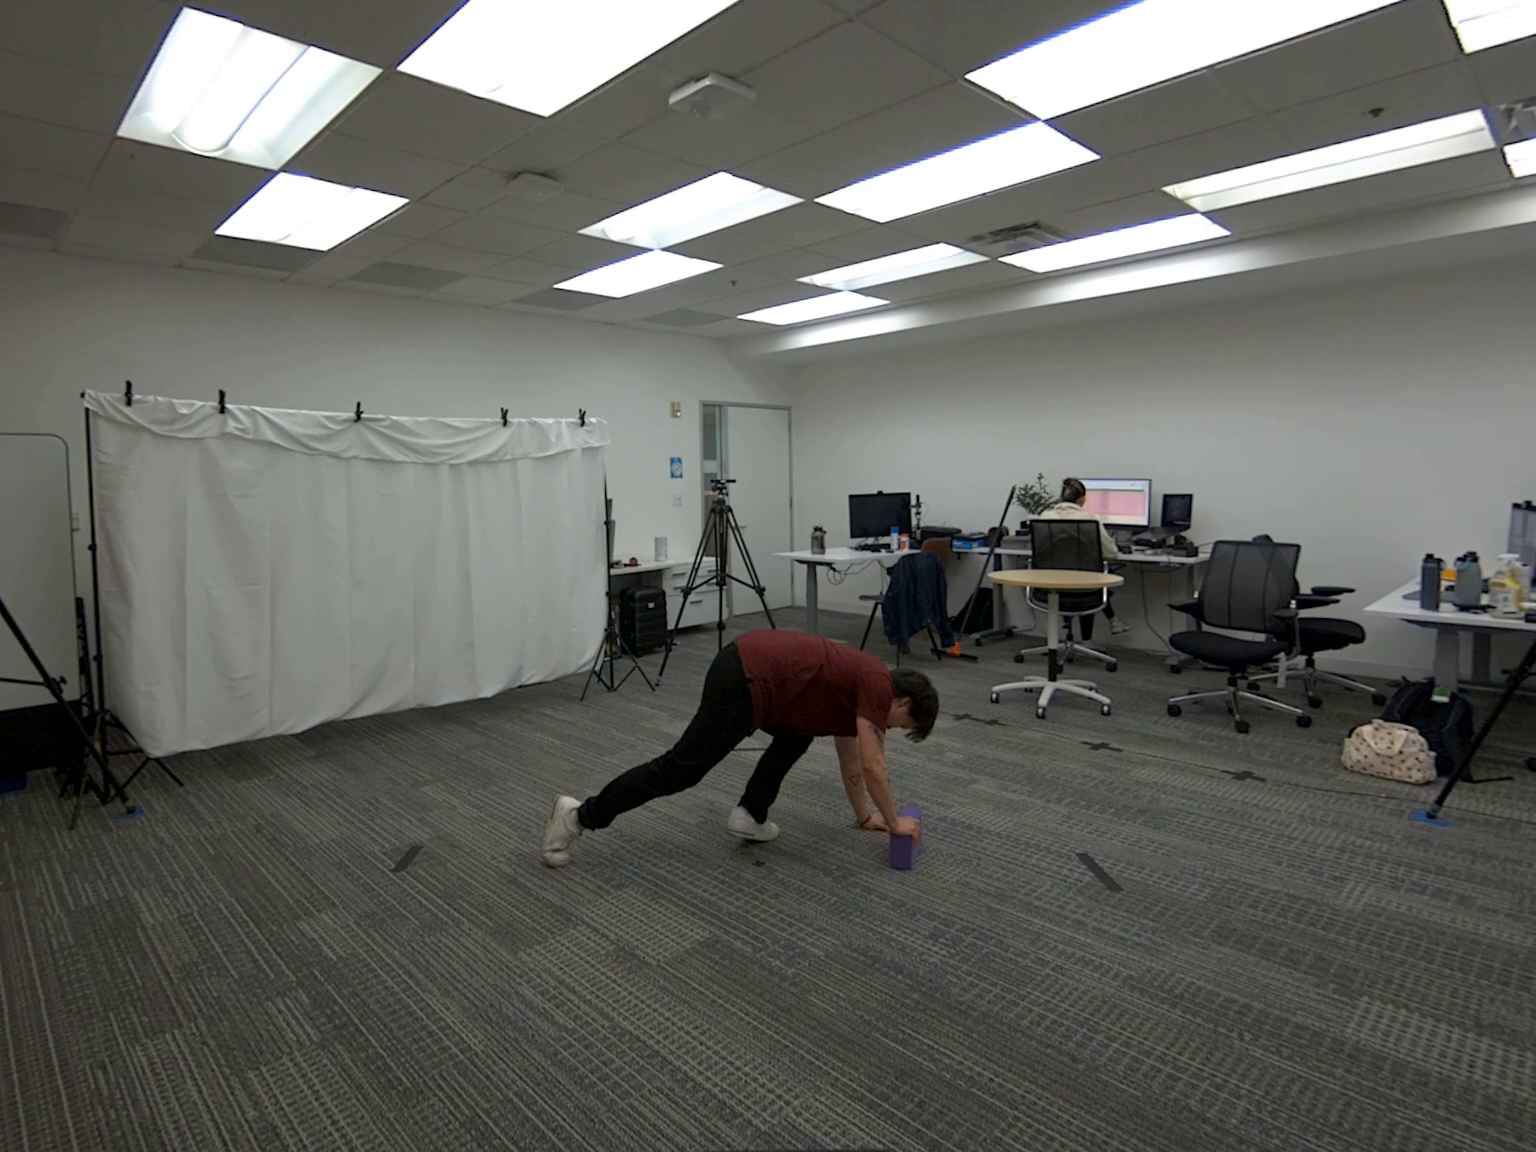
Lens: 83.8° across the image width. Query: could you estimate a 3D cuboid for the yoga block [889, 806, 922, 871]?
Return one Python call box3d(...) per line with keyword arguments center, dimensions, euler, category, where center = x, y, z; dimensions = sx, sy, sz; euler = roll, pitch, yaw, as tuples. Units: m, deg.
box3d(center=(0.503, 0.951, 3.139), dimensions=(0.078, 0.148, 0.225), euler=(3, 5, 21), category="yoga block")
